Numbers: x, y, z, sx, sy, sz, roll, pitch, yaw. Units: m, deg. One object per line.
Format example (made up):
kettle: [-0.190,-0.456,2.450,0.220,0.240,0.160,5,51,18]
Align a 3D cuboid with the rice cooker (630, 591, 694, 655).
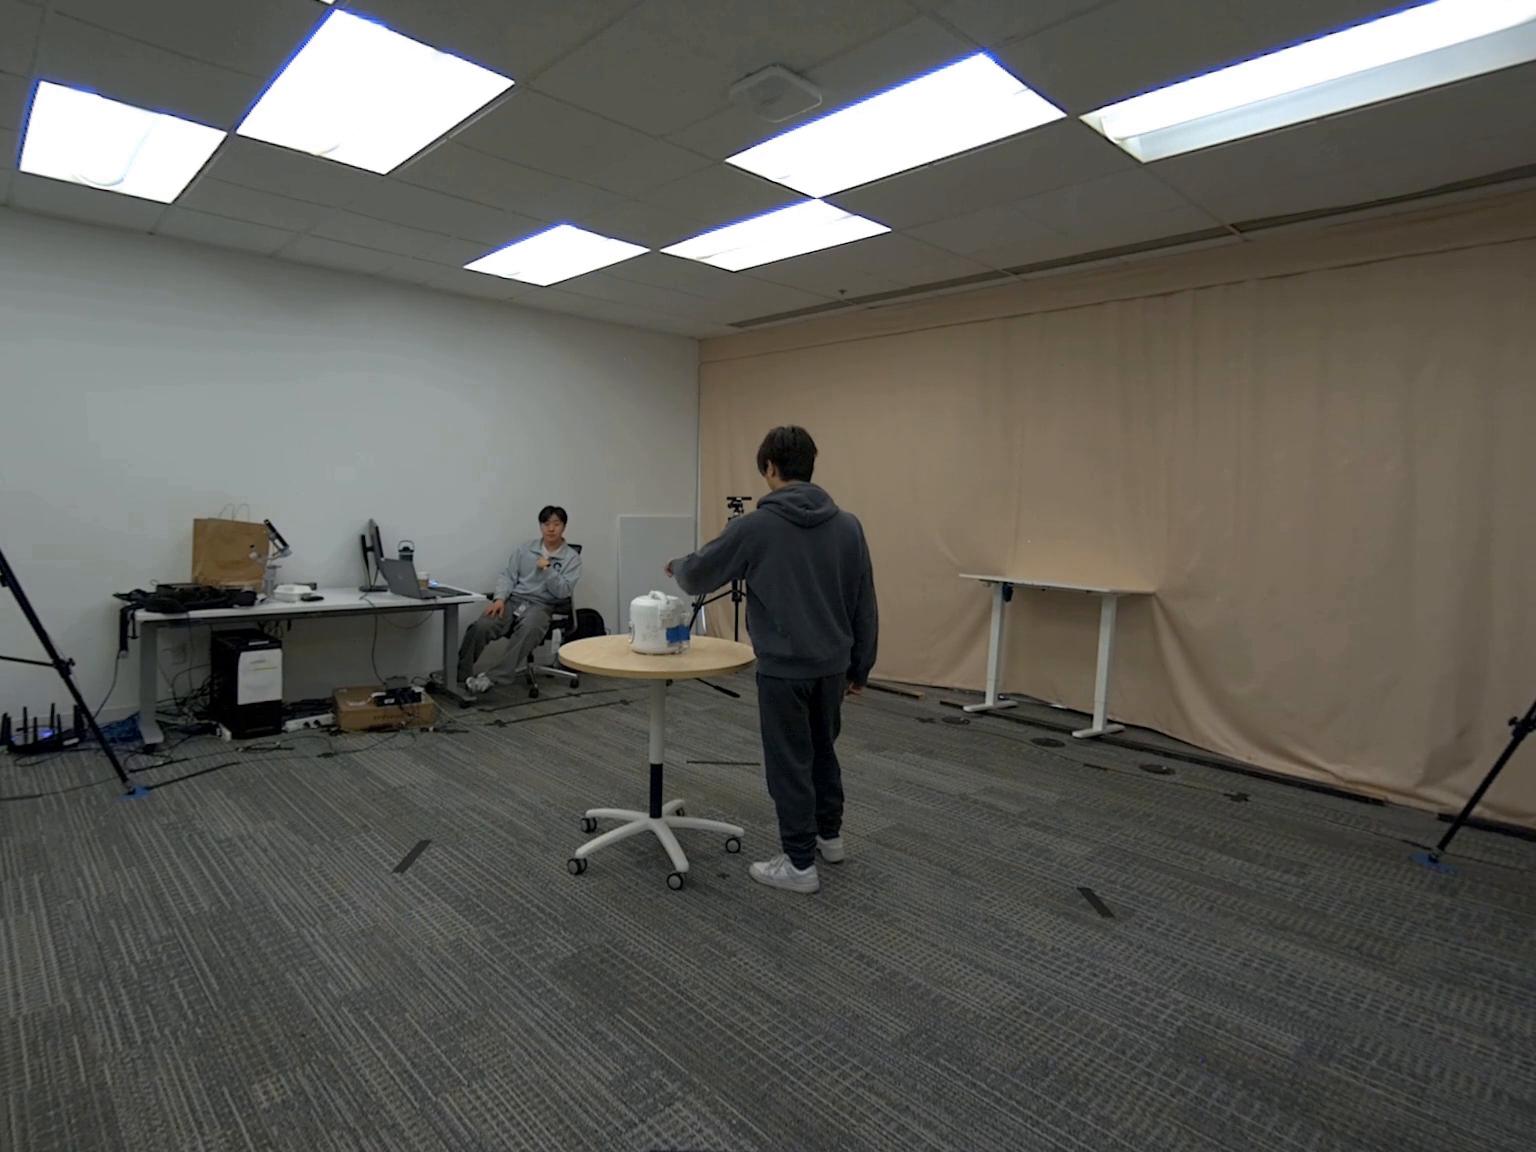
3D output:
rice cooker: [-0.434,0.174,3.235,0.213,0.232,0.225,1,3,-27]
